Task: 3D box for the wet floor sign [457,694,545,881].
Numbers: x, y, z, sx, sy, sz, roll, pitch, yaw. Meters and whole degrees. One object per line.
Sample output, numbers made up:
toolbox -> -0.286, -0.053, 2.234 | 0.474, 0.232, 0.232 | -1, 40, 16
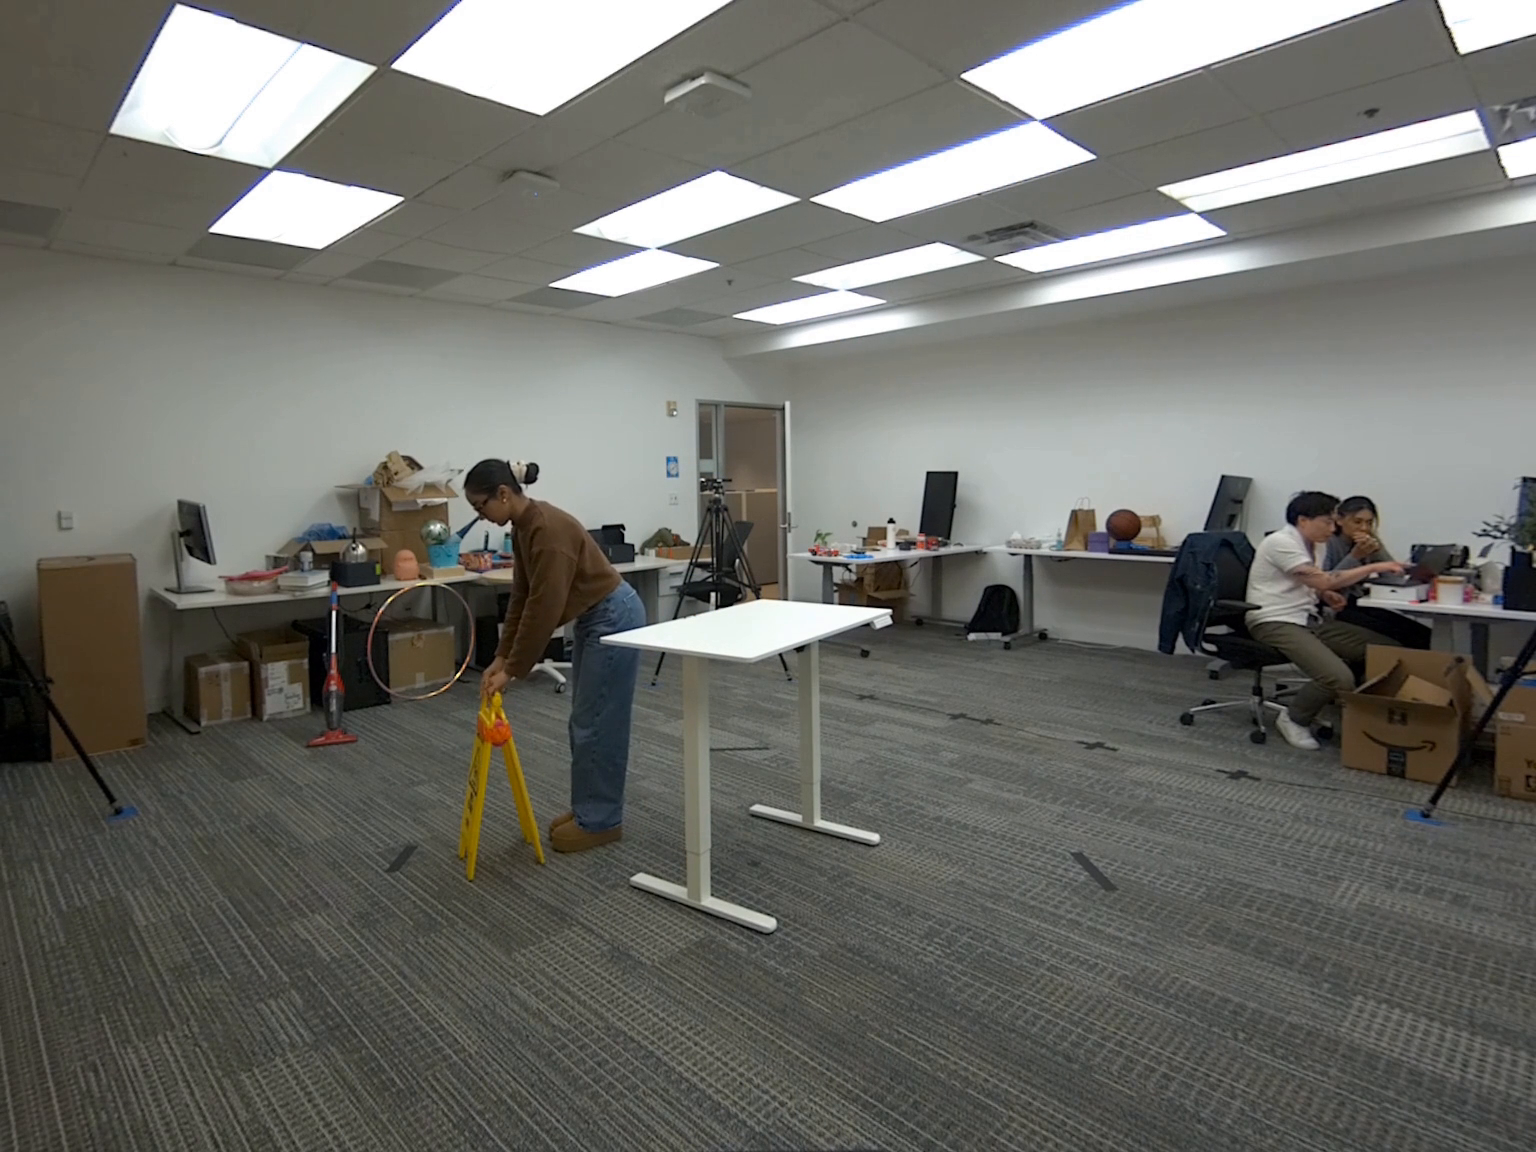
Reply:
wet floor sign -> -1.002, 0.733, 3.166 | 0.283, 0.643, 0.290 | -3, 6, -27
